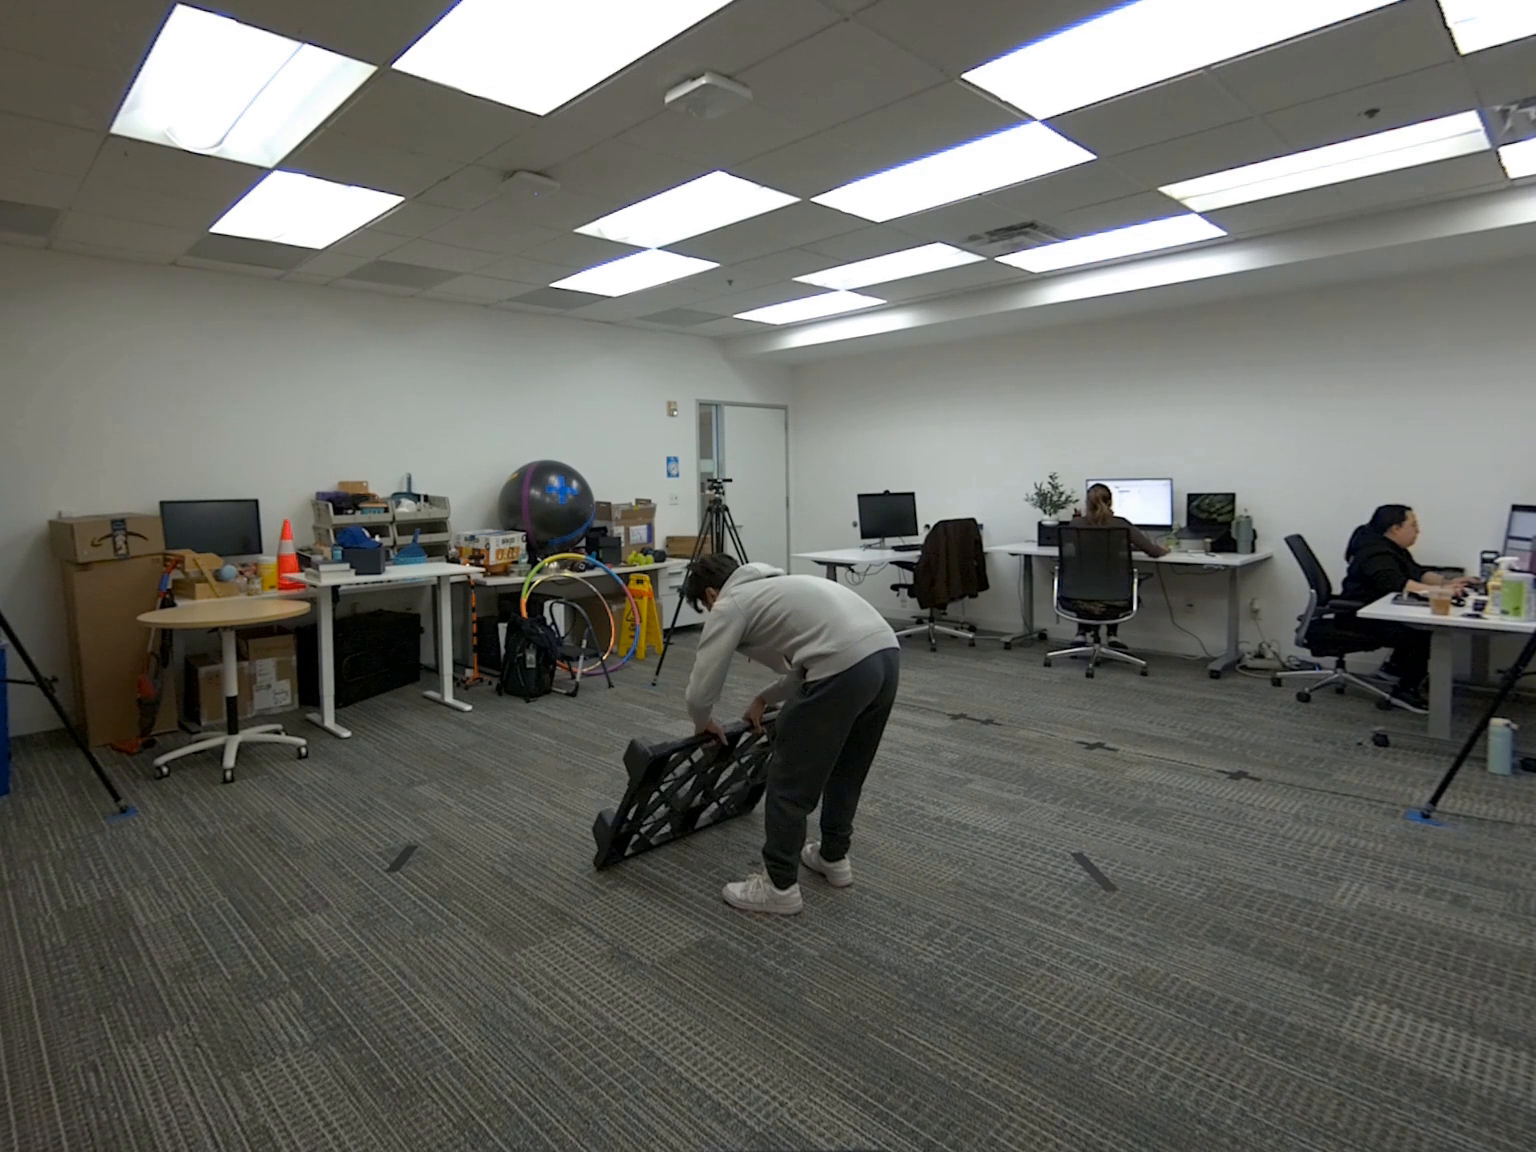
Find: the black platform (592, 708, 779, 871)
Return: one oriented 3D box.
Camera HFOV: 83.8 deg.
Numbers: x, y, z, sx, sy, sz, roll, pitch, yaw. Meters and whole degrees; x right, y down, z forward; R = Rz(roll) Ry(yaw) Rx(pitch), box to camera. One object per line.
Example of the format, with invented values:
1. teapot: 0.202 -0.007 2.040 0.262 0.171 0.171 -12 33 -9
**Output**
1. black platform: -0.257 0.751 3.221 0.784 0.599 0.149 -6 41 -44
